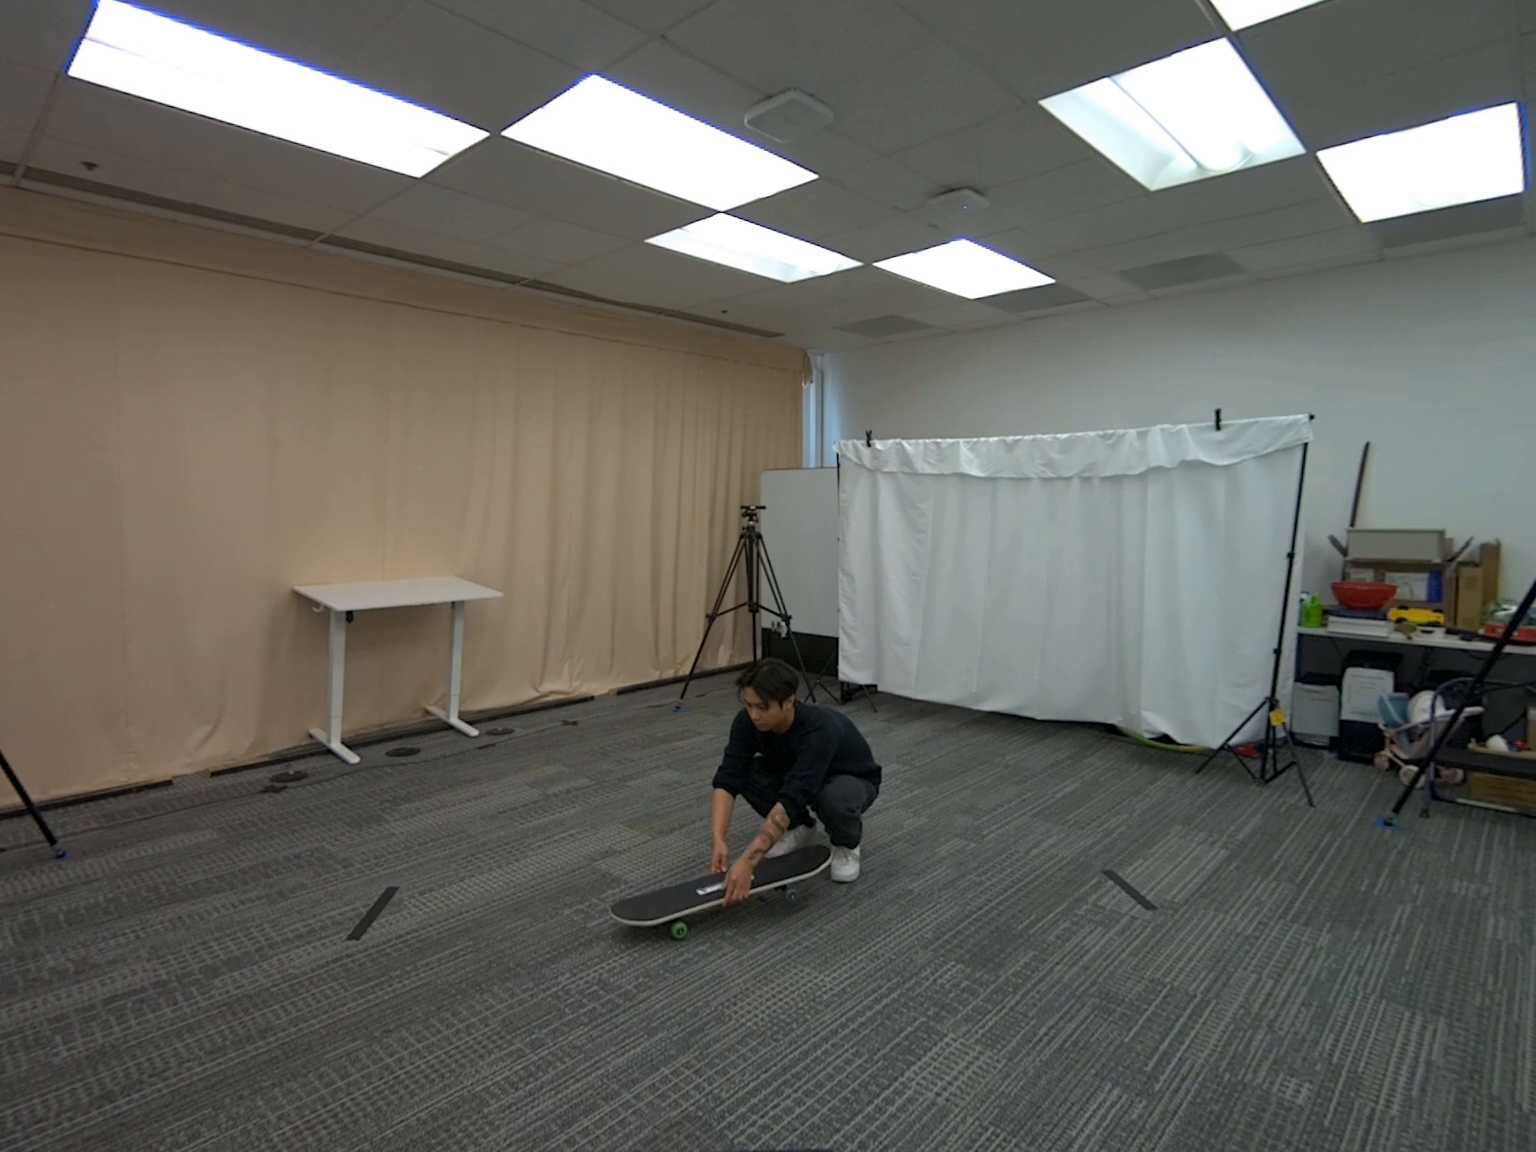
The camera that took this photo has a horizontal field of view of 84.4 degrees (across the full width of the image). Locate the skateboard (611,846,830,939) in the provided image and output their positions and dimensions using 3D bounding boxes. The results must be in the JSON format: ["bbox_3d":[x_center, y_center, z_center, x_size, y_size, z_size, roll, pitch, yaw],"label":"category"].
[{"bbox_3d":[-0.137,1.071,2.827,0.771,0.110,0.197,-9,5,-20],"label":"skateboard"}]
